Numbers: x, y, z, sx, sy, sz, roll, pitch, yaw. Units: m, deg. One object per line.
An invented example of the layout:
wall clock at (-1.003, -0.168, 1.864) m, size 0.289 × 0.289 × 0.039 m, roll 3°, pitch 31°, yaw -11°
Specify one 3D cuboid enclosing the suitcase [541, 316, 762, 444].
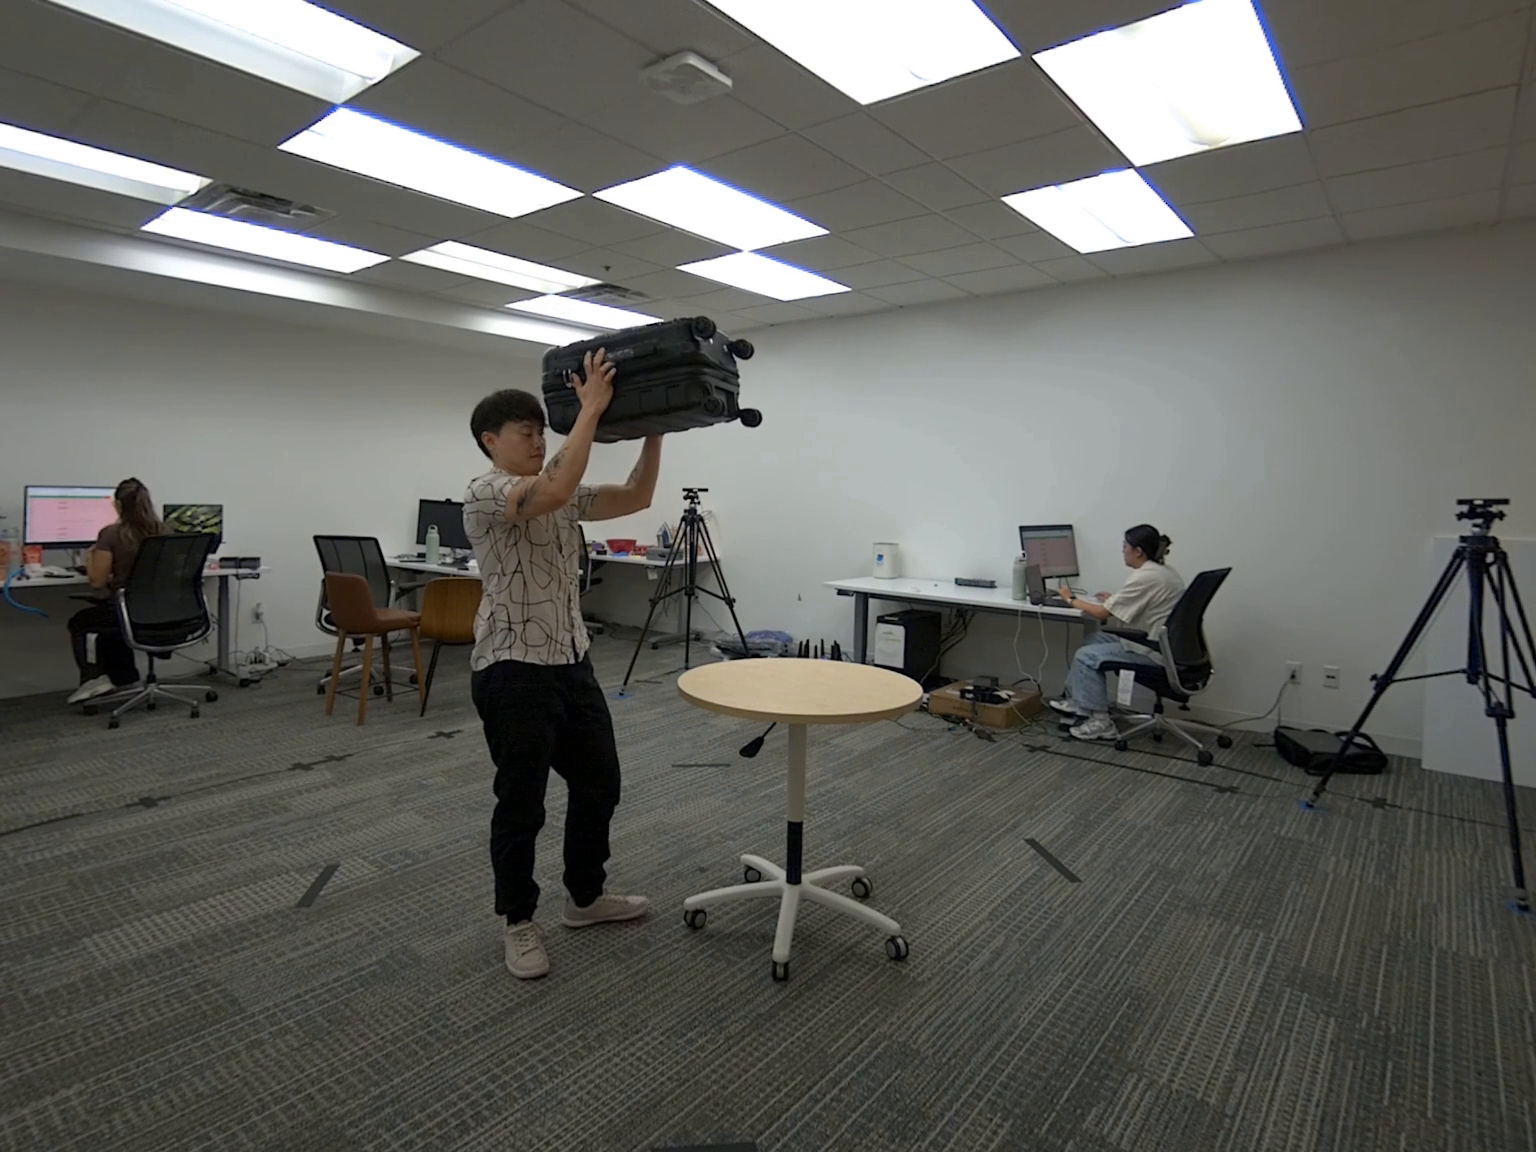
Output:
suitcase at (-0.351, -0.545, 2.411) m, size 0.560 × 0.249 × 0.367 m, roll -5°, pitch -1°, yaw 21°
